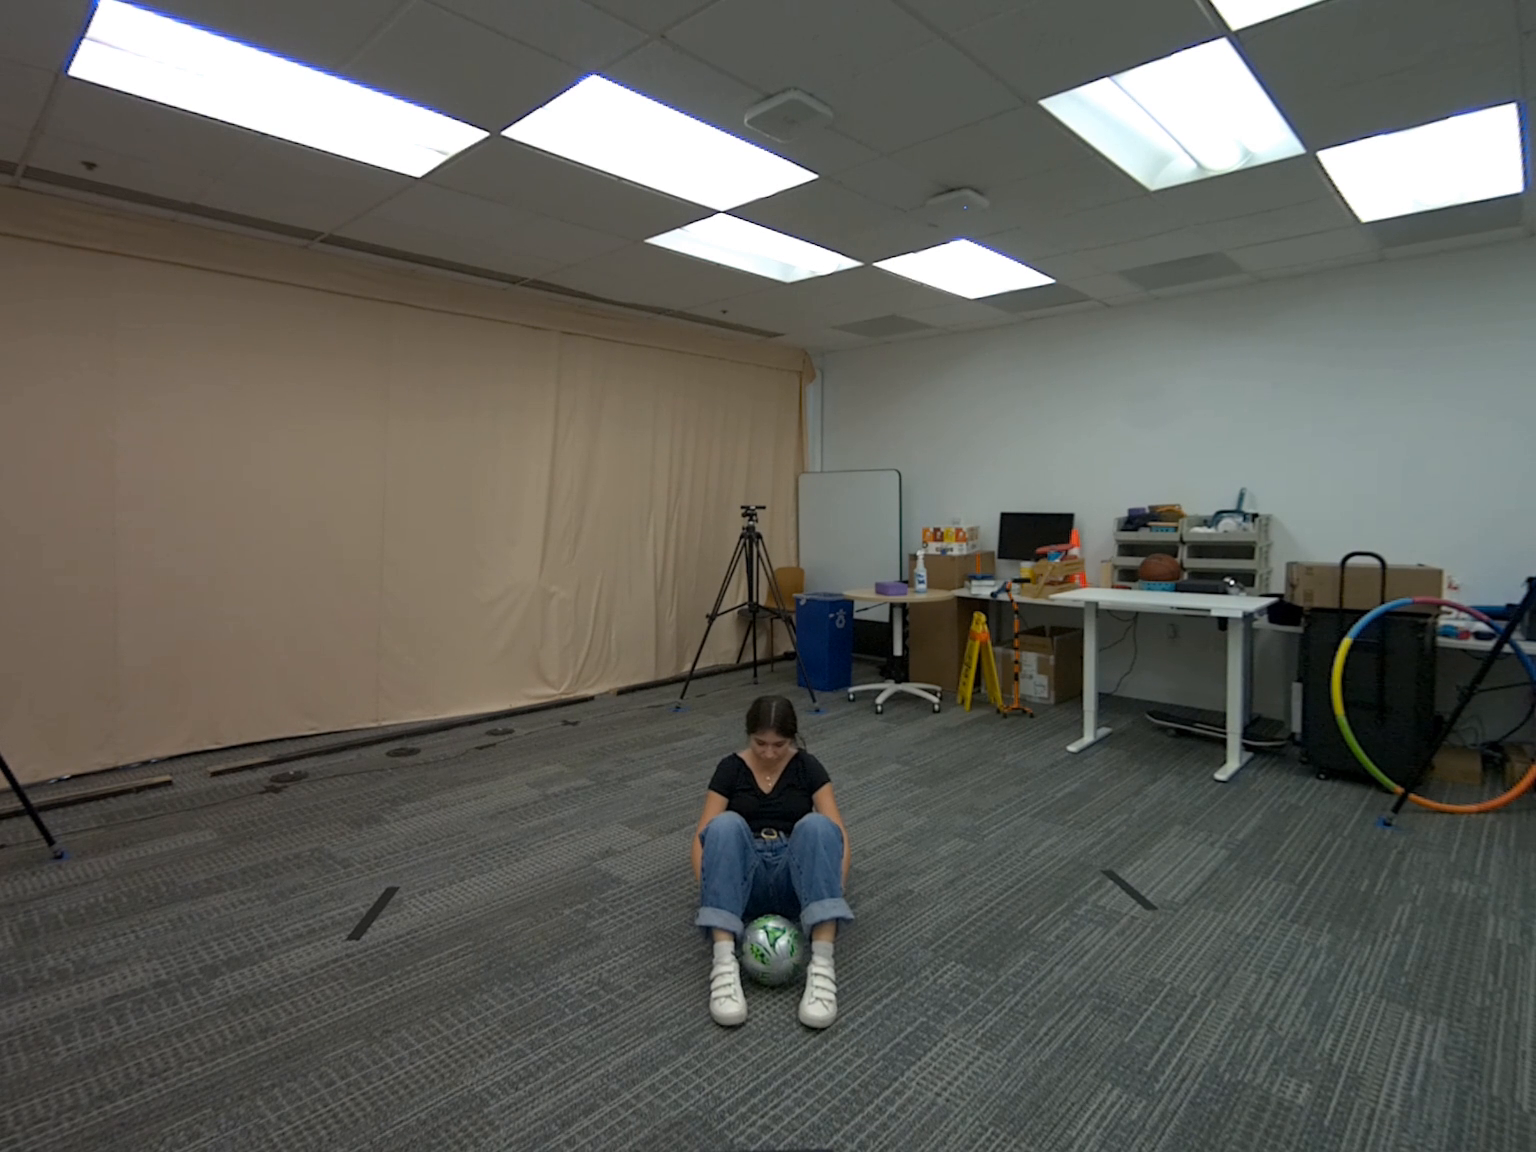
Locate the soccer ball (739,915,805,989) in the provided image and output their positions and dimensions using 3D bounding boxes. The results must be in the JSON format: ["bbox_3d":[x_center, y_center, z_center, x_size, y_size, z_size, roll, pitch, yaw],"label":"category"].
[{"bbox_3d":[0.014,1.086,2.471,0.187,0.187,0.188,3,4,-2],"label":"soccer ball"}]
